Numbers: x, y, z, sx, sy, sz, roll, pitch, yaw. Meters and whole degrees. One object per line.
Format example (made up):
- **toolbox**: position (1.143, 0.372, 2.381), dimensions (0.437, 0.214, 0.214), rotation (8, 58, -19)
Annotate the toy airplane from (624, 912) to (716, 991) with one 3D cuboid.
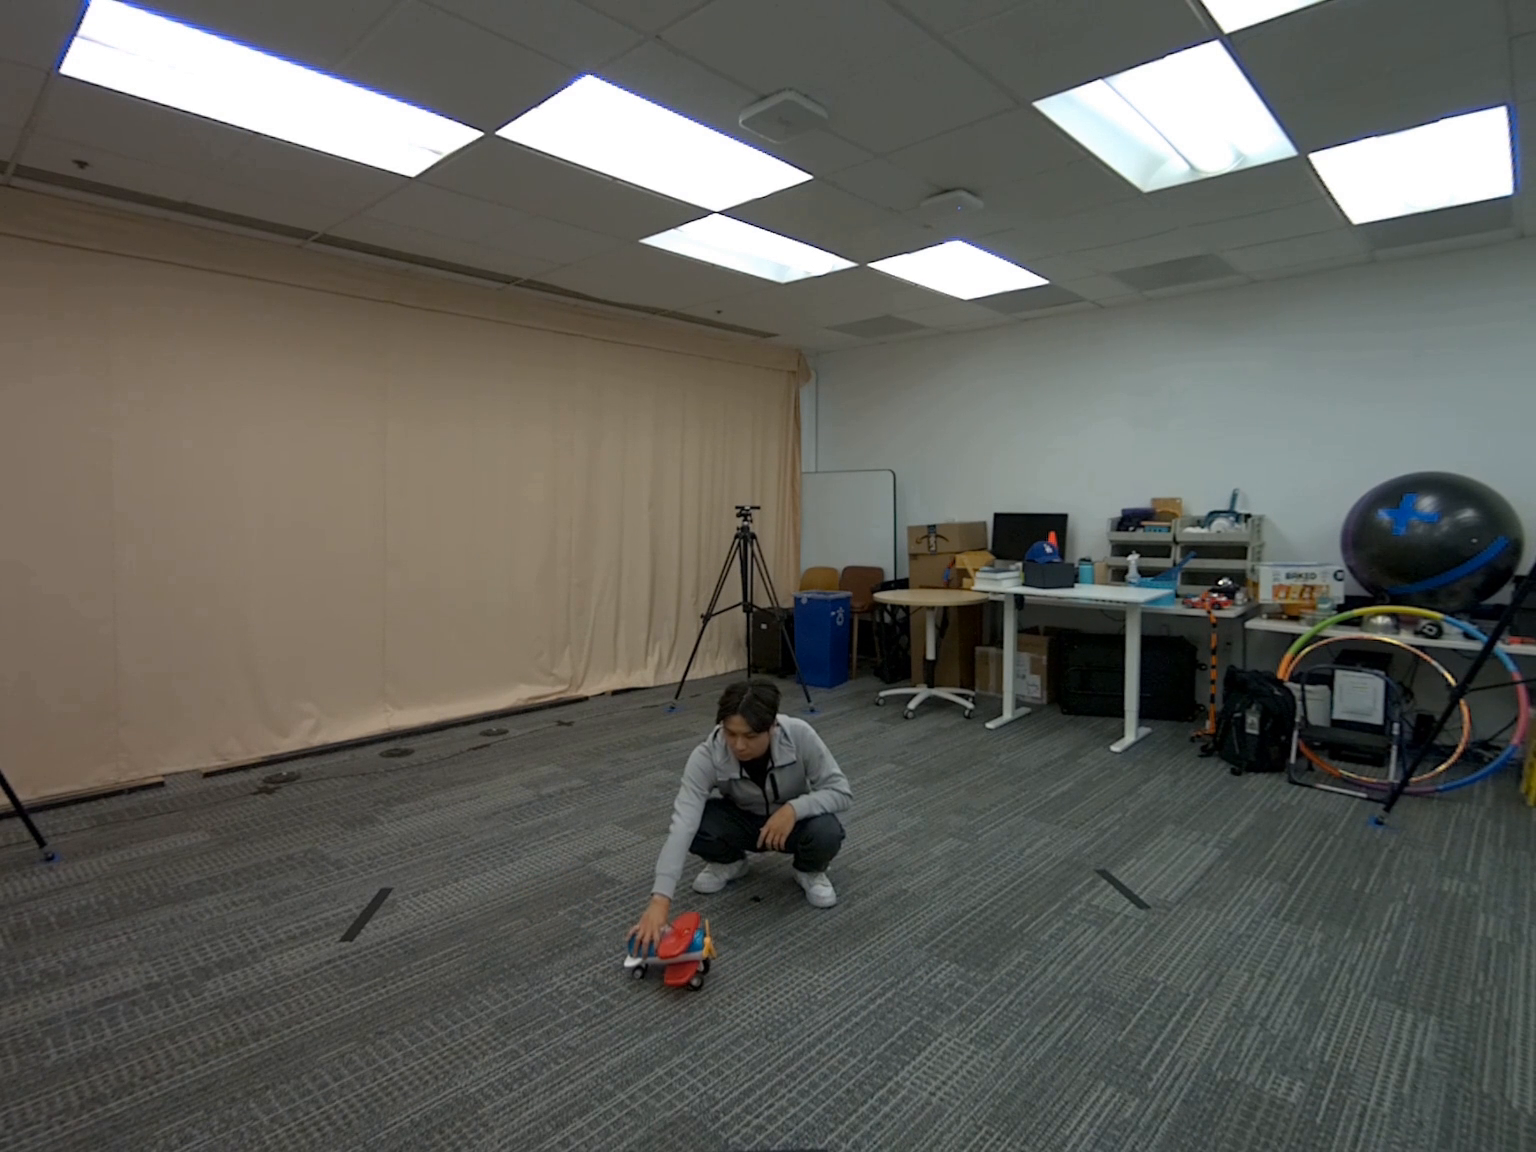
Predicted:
- **toy airplane**: position (-0.289, 1.112, 2.465), dimensions (0.254, 0.156, 0.256), rotation (-1, 4, -18)
